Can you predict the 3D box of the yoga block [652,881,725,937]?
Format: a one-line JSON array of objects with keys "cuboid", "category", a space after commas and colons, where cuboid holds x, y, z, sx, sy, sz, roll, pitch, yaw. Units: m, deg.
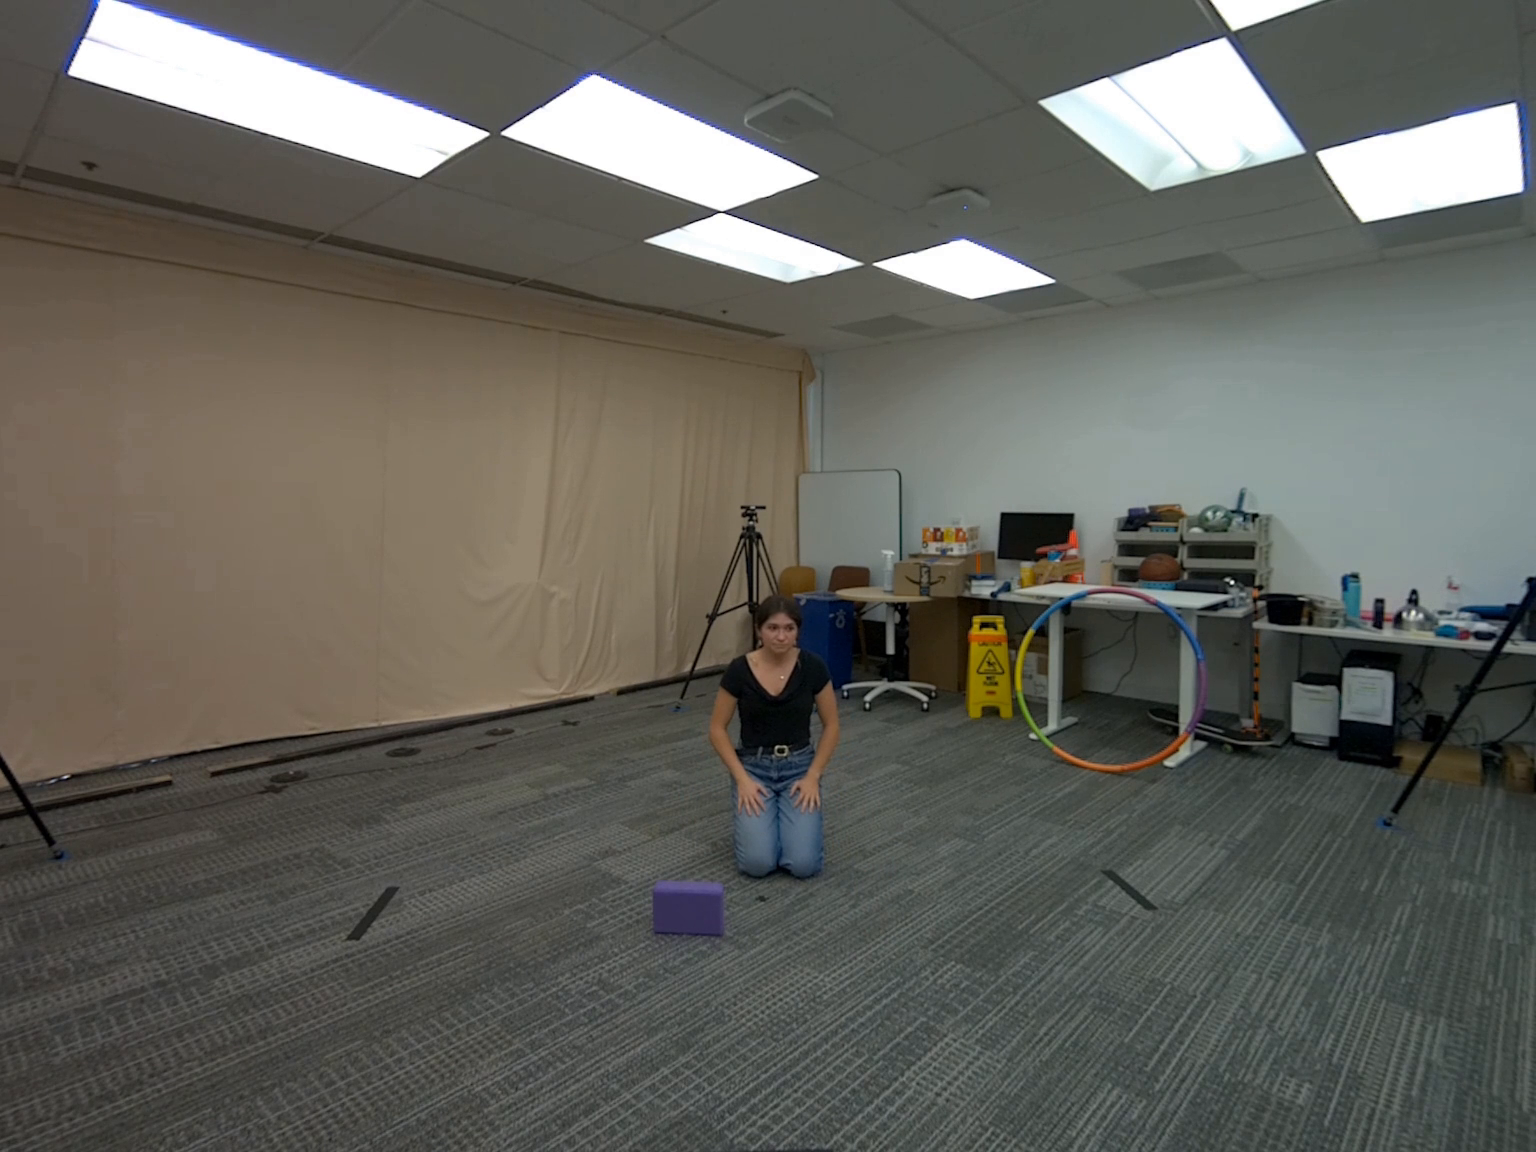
[{"cuboid": [-0.253, 1.088, 2.761, 0.231, 0.148, 0.076, 1, 4, 6], "category": "yoga block"}]
